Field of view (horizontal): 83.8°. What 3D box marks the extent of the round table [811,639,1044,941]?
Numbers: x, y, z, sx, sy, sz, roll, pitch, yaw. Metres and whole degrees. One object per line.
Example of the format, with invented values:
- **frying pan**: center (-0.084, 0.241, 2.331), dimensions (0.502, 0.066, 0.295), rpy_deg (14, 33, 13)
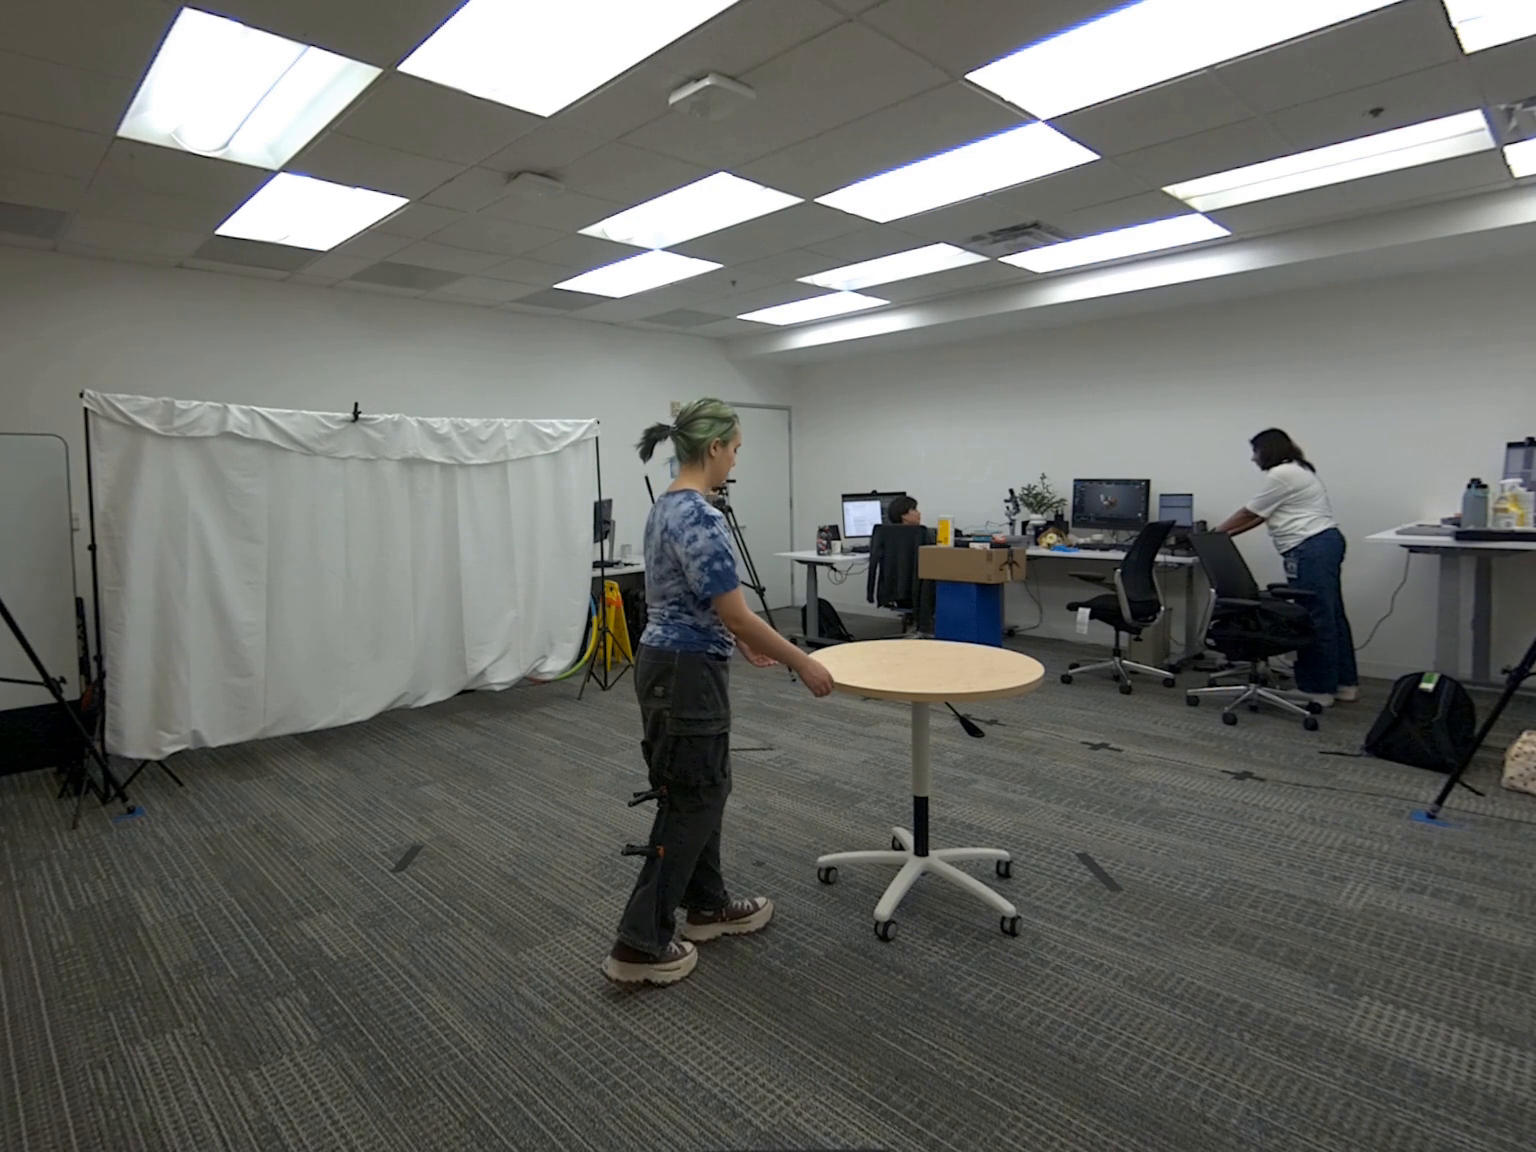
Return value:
- **round table**: center (0.514, 0.681, 2.827), dimensions (0.763, 0.791, 0.768), rpy_deg (-1, 5, -2)
